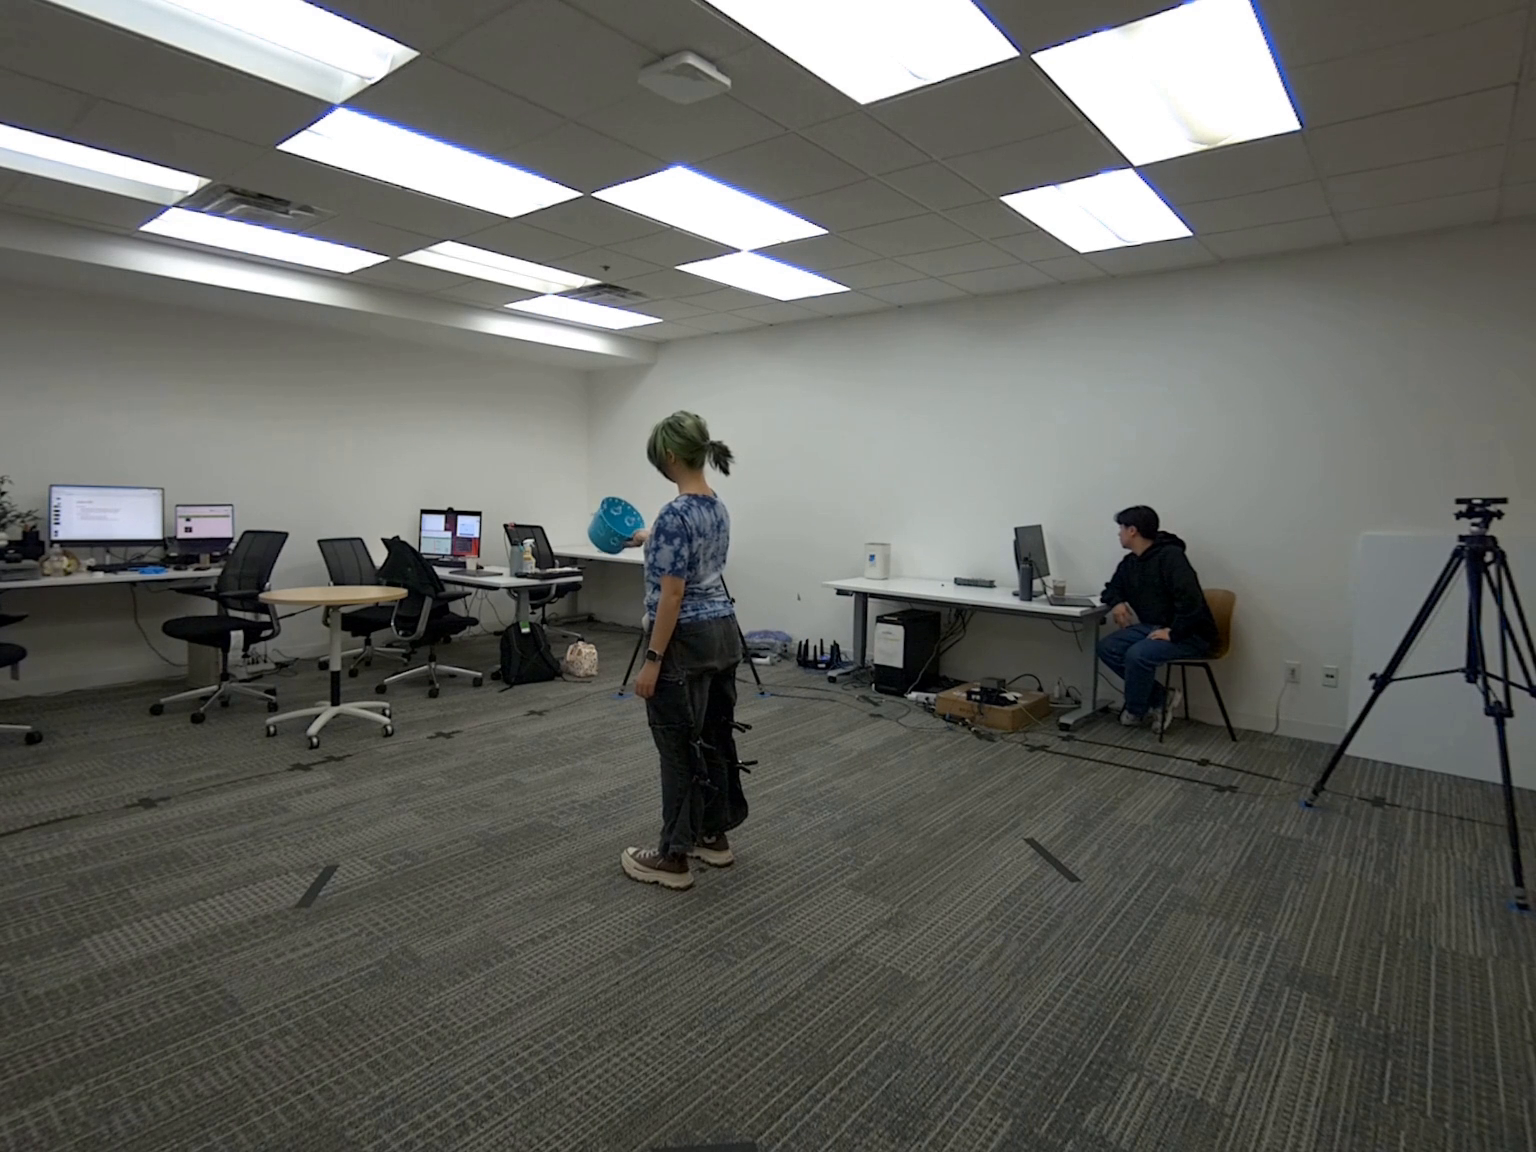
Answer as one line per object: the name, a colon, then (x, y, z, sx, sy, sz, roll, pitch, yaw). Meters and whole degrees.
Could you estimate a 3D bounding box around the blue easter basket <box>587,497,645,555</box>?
blue easter basket: (-0.677, -0.209, 3.726, 0.236, 0.251, 0.156, -4, -35, -51)
